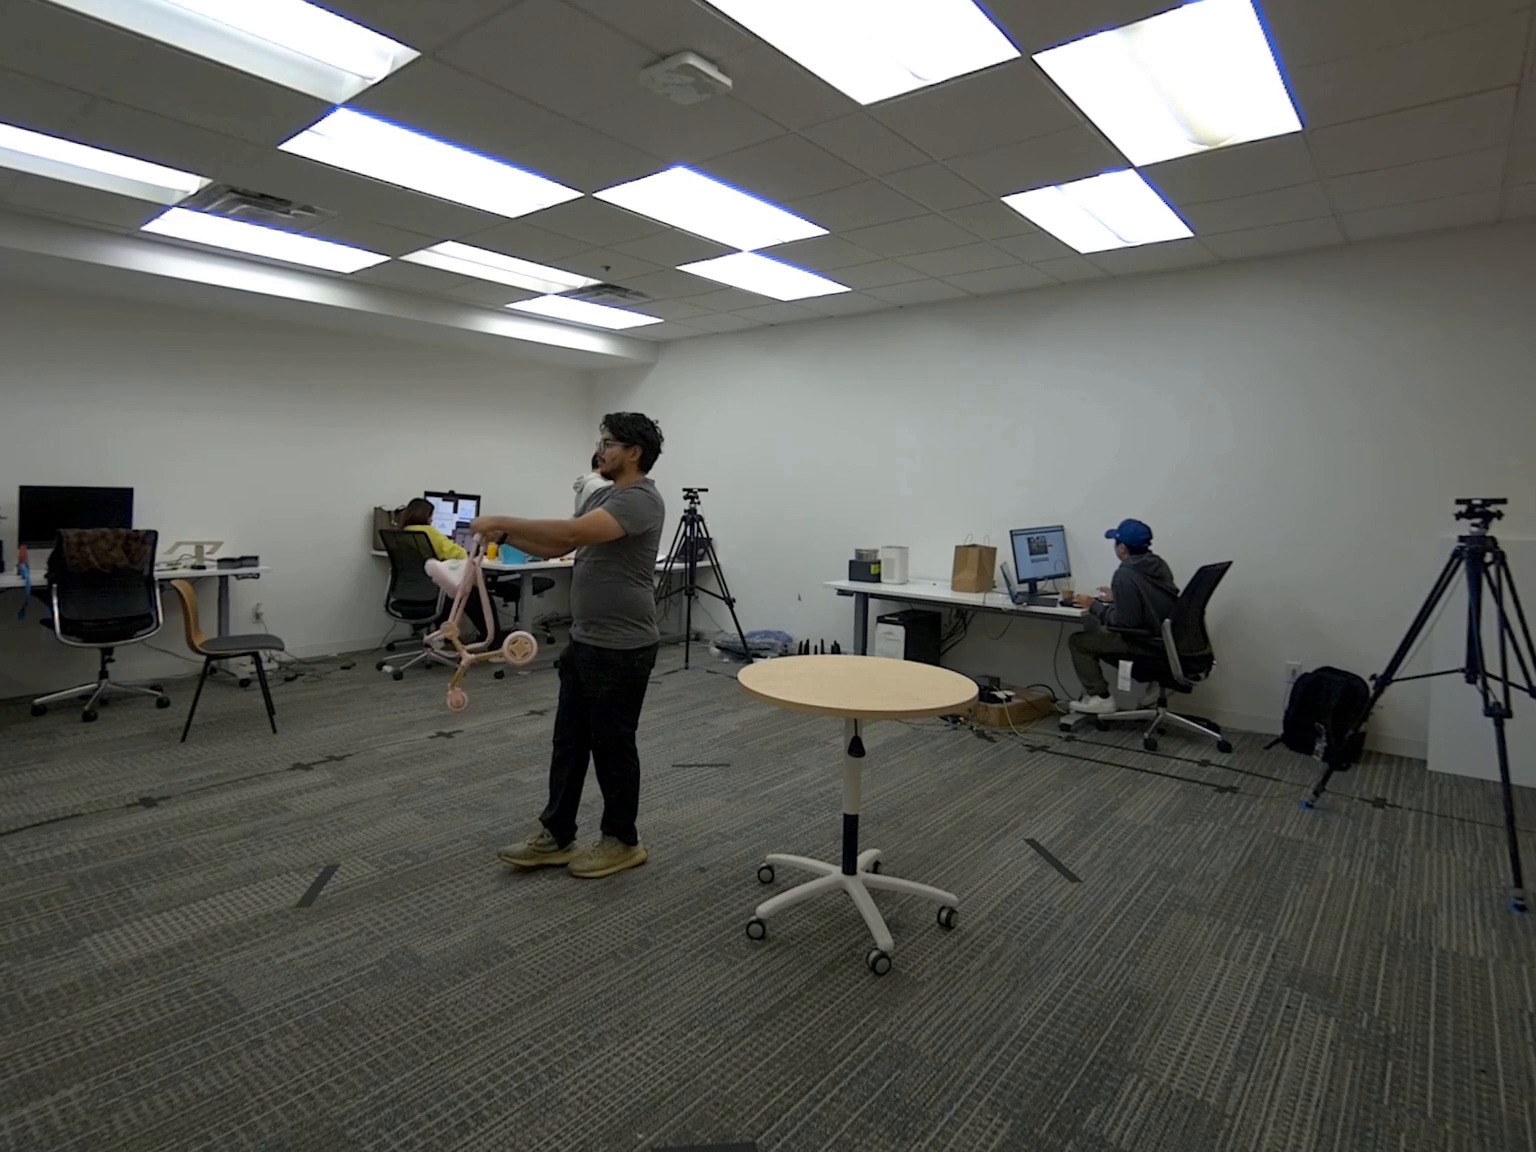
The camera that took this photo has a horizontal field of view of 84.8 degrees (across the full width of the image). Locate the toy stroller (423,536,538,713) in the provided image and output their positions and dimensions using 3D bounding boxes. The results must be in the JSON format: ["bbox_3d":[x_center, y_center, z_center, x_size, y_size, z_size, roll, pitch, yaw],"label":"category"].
[{"bbox_3d":[-0.994,0.145,2.840,0.338,0.537,0.283,-21,-2,-15],"label":"toy stroller"}]
